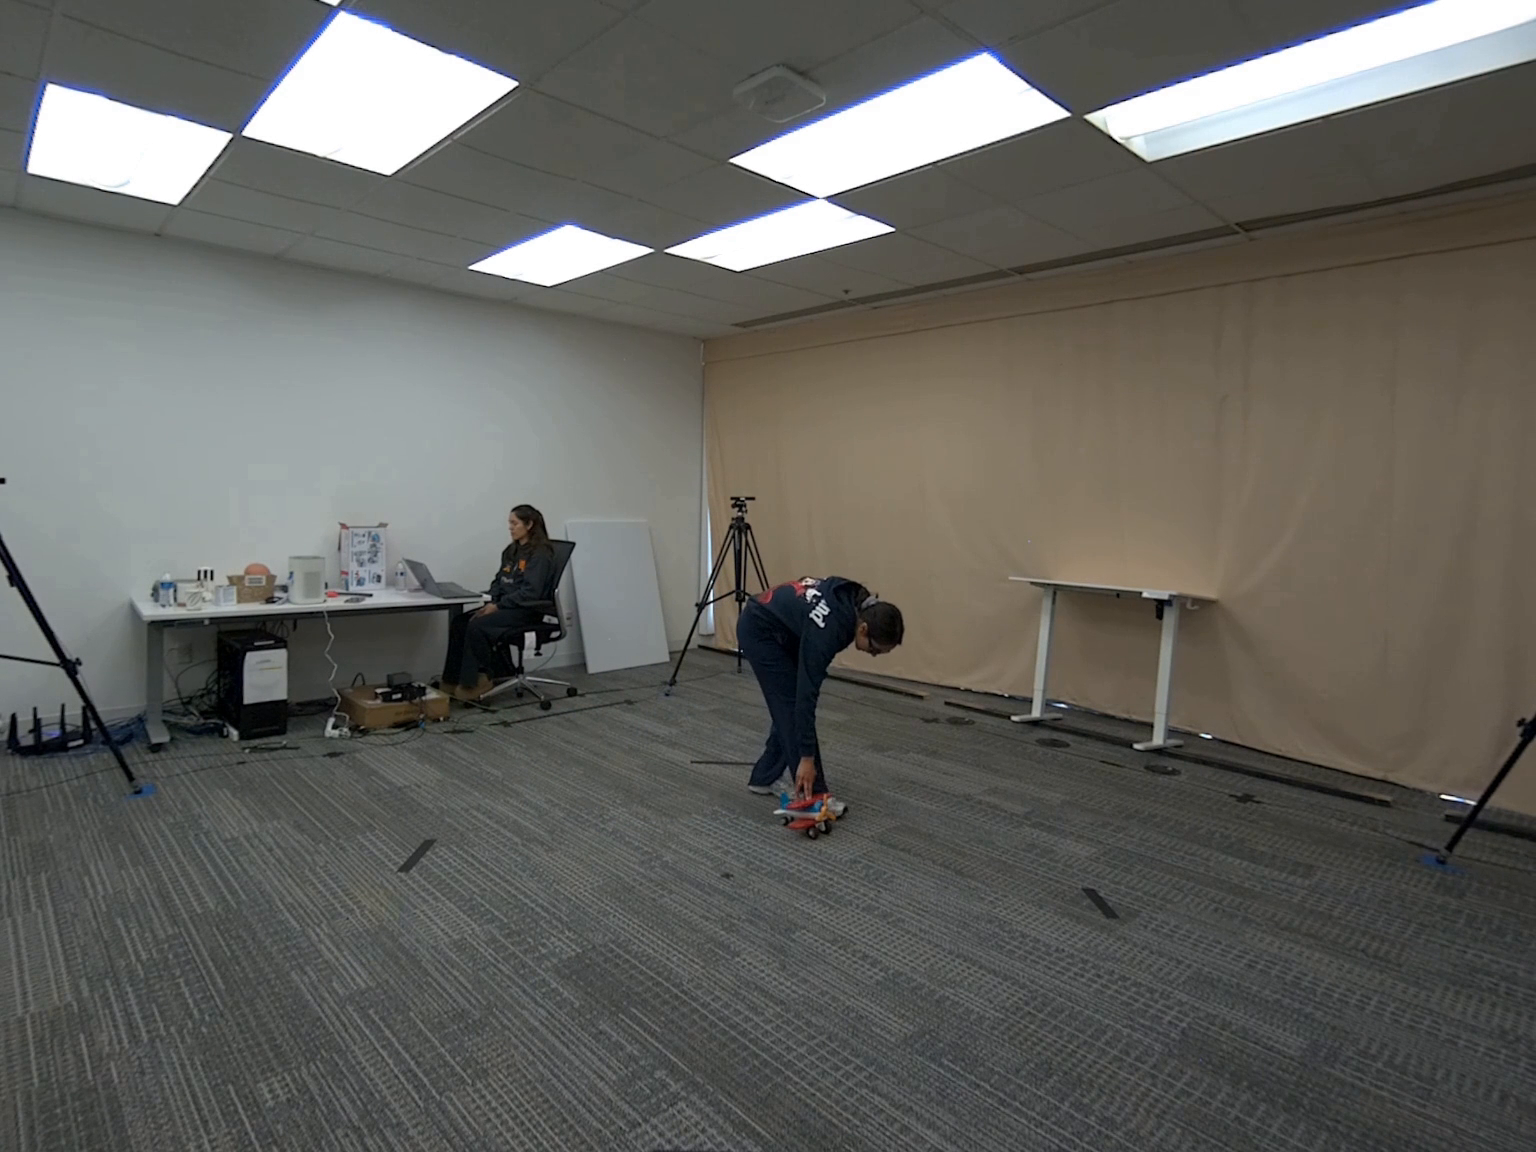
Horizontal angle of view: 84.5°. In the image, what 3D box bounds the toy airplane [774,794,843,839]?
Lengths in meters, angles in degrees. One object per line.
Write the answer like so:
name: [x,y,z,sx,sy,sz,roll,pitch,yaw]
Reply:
toy airplane: [0.126,1.003,3.547,0.263,0.156,0.248,4,4,15]
